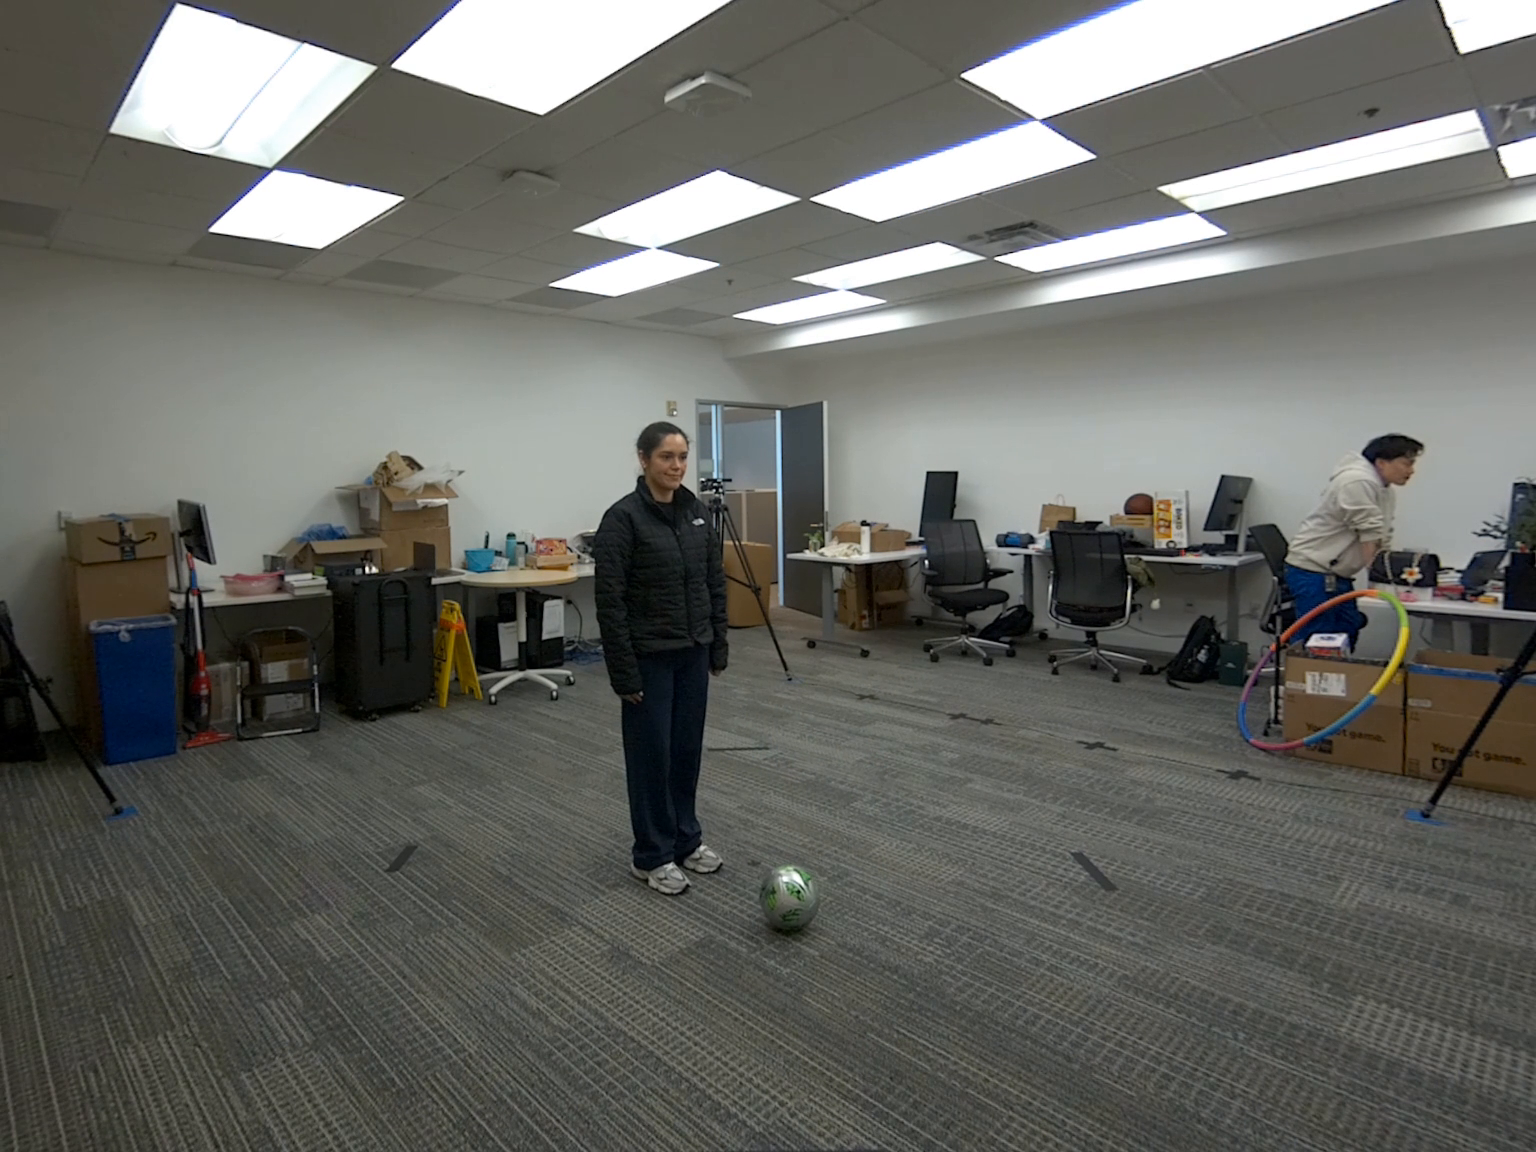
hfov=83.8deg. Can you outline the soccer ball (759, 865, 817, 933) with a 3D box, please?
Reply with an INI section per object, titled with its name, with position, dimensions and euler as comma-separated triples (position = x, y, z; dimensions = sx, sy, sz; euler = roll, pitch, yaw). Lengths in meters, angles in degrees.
[soccer ball]
position = 0.073, 1.000, 2.661
dimensions = 0.187, 0.187, 0.188
euler = -1, 5, -2
